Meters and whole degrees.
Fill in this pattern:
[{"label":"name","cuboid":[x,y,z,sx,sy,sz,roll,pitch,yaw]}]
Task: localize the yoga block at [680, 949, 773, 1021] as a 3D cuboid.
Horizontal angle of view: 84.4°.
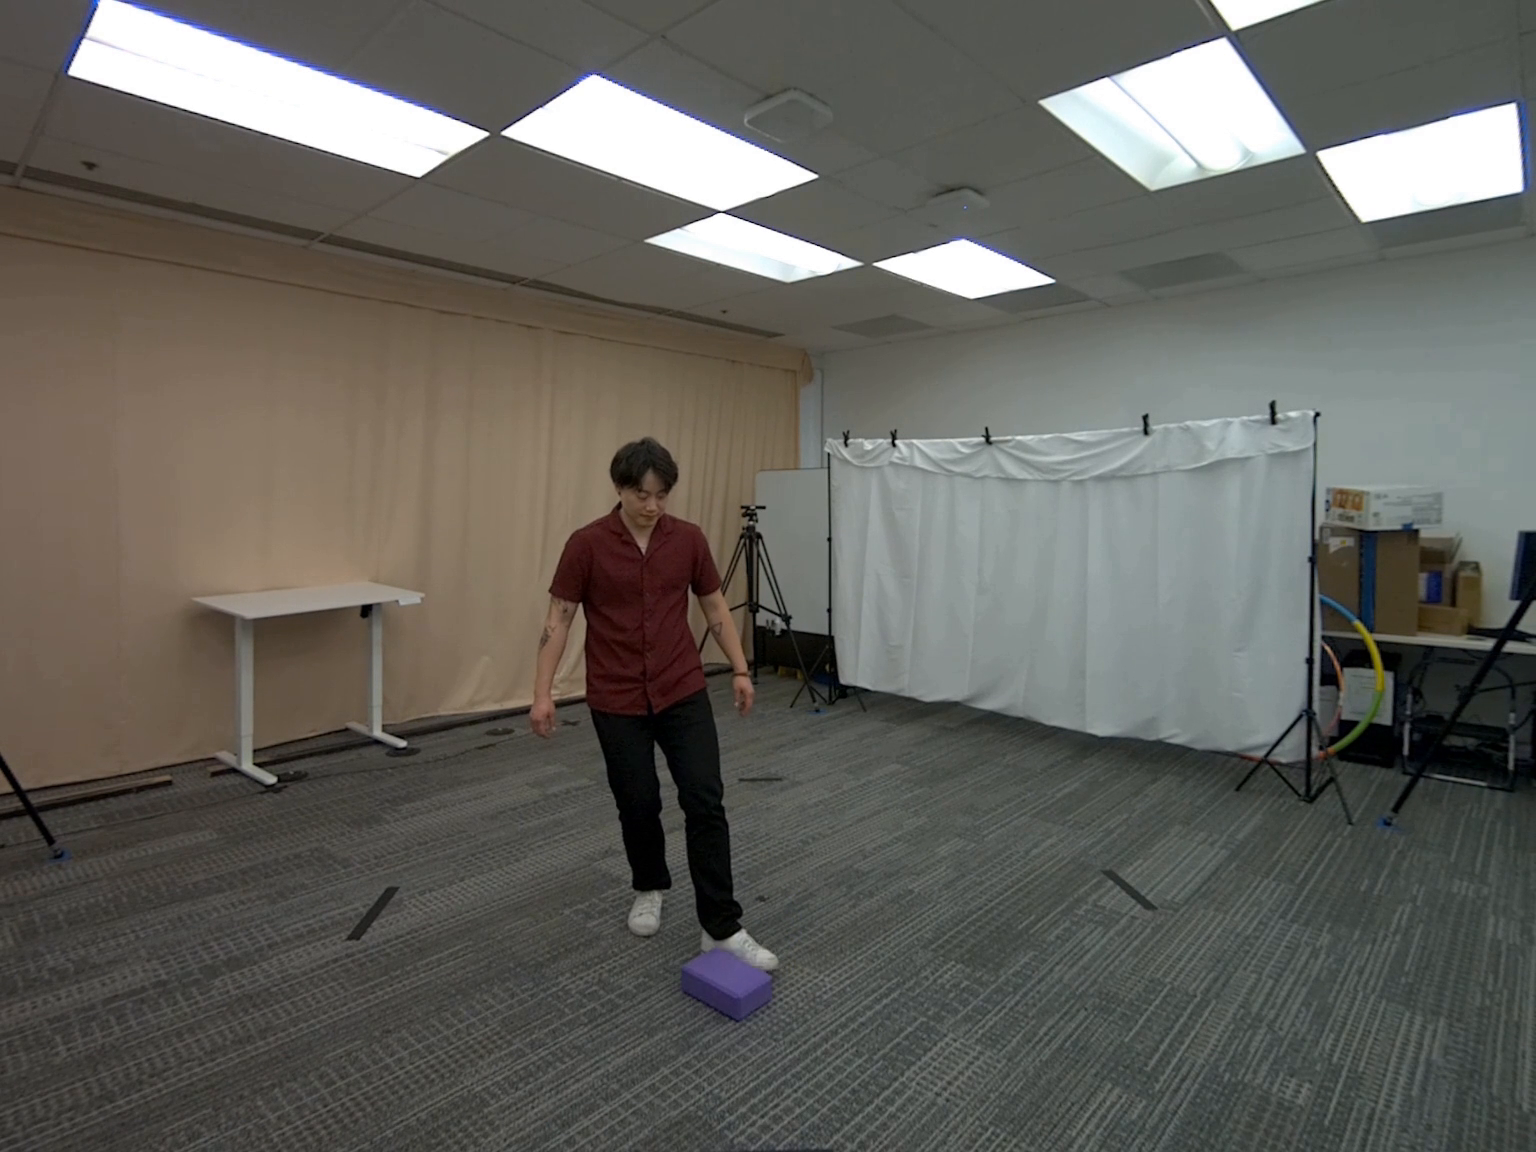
[{"label":"yoga block","cuboid":[-0.118,1.148,2.389,0.237,0.076,0.144,5,7,41]}]
